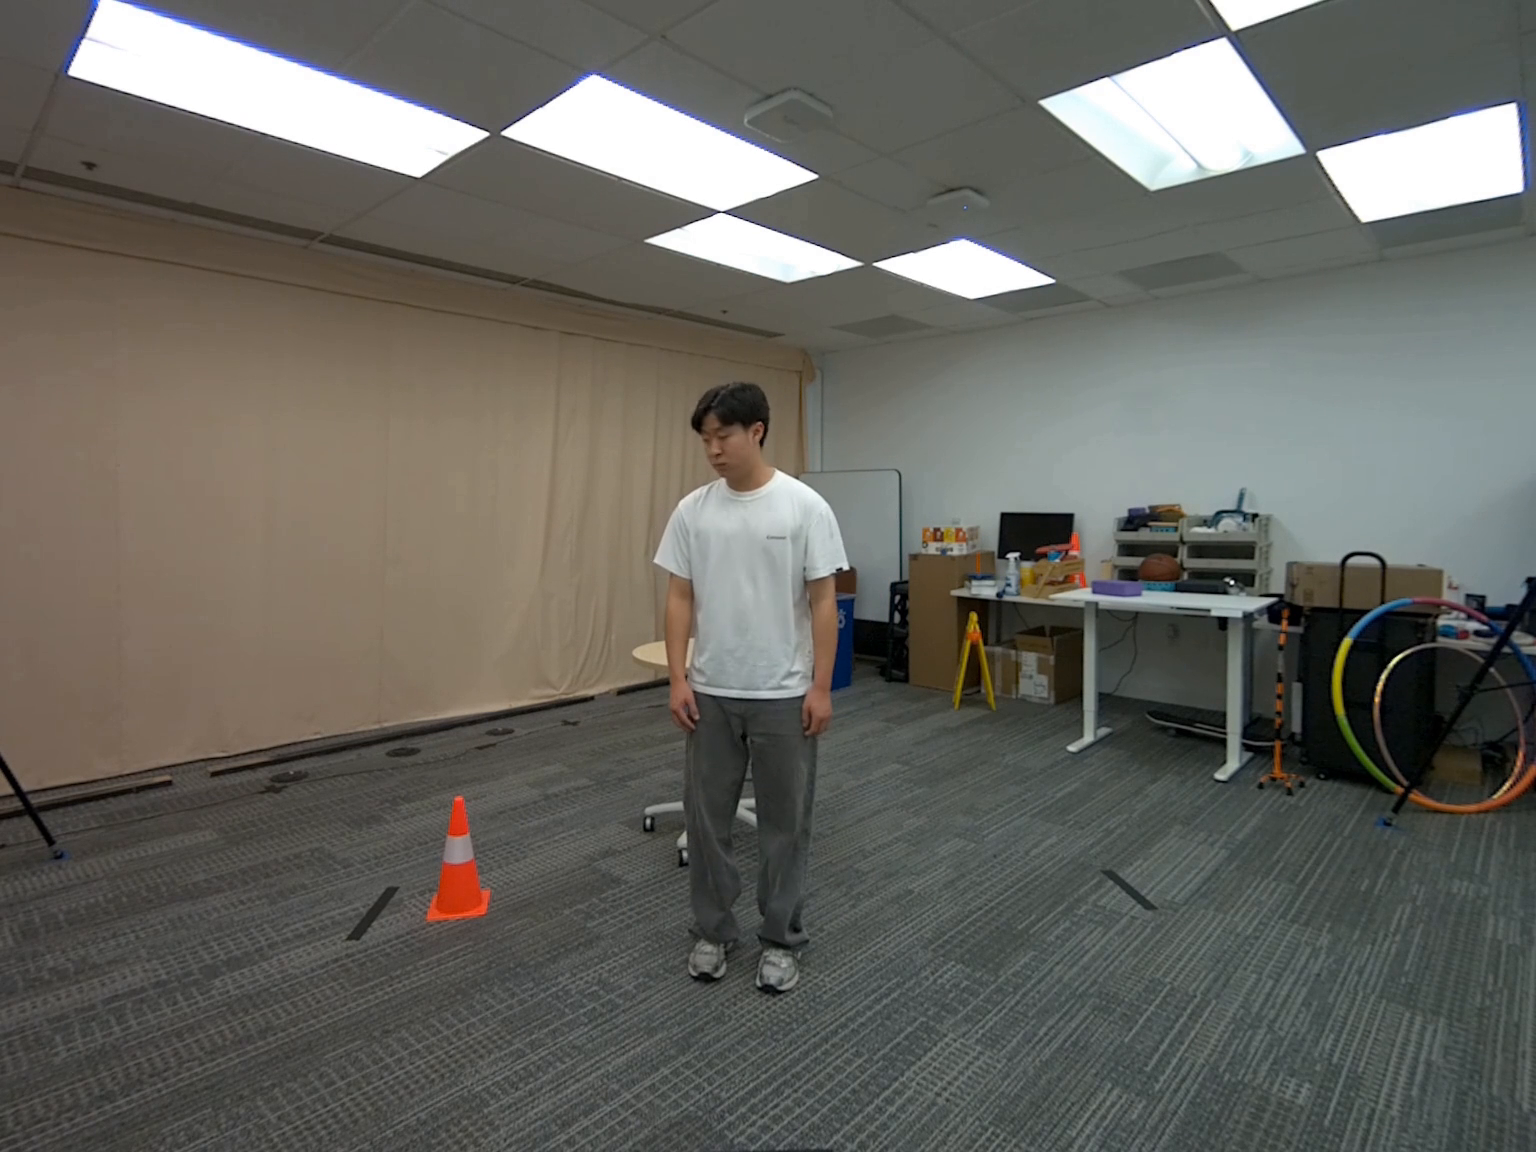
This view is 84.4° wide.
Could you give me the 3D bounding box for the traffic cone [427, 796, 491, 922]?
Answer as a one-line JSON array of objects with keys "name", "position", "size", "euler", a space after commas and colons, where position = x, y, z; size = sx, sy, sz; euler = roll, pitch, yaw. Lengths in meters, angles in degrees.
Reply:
[{"name": "traffic cone", "position": [-1.091, 0.974, 2.947], "size": [0.202, 0.383, 0.206], "euler": [-2, 2, -13]}]
